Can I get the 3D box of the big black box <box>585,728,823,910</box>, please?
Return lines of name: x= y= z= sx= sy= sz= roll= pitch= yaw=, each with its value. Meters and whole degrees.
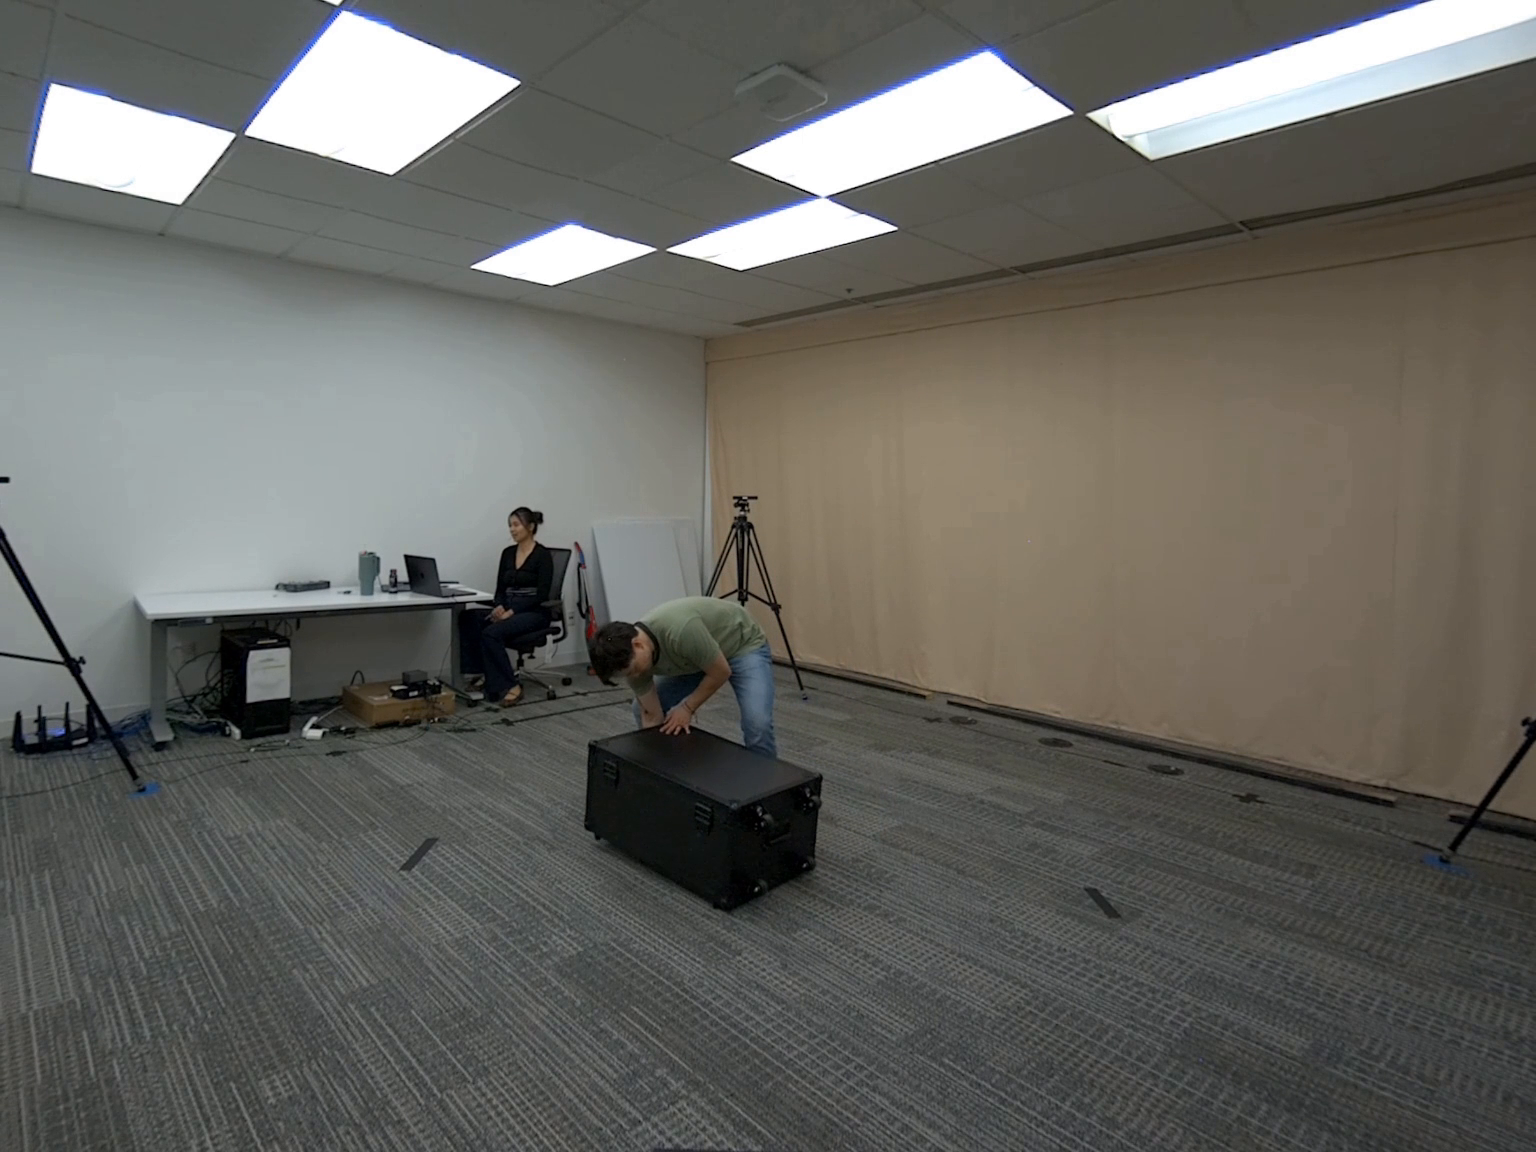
big black box: x=-0.246 y=0.887 z=3.184 sx=0.884 sy=0.395 sz=0.509 roll=9 pitch=8 yaw=40
